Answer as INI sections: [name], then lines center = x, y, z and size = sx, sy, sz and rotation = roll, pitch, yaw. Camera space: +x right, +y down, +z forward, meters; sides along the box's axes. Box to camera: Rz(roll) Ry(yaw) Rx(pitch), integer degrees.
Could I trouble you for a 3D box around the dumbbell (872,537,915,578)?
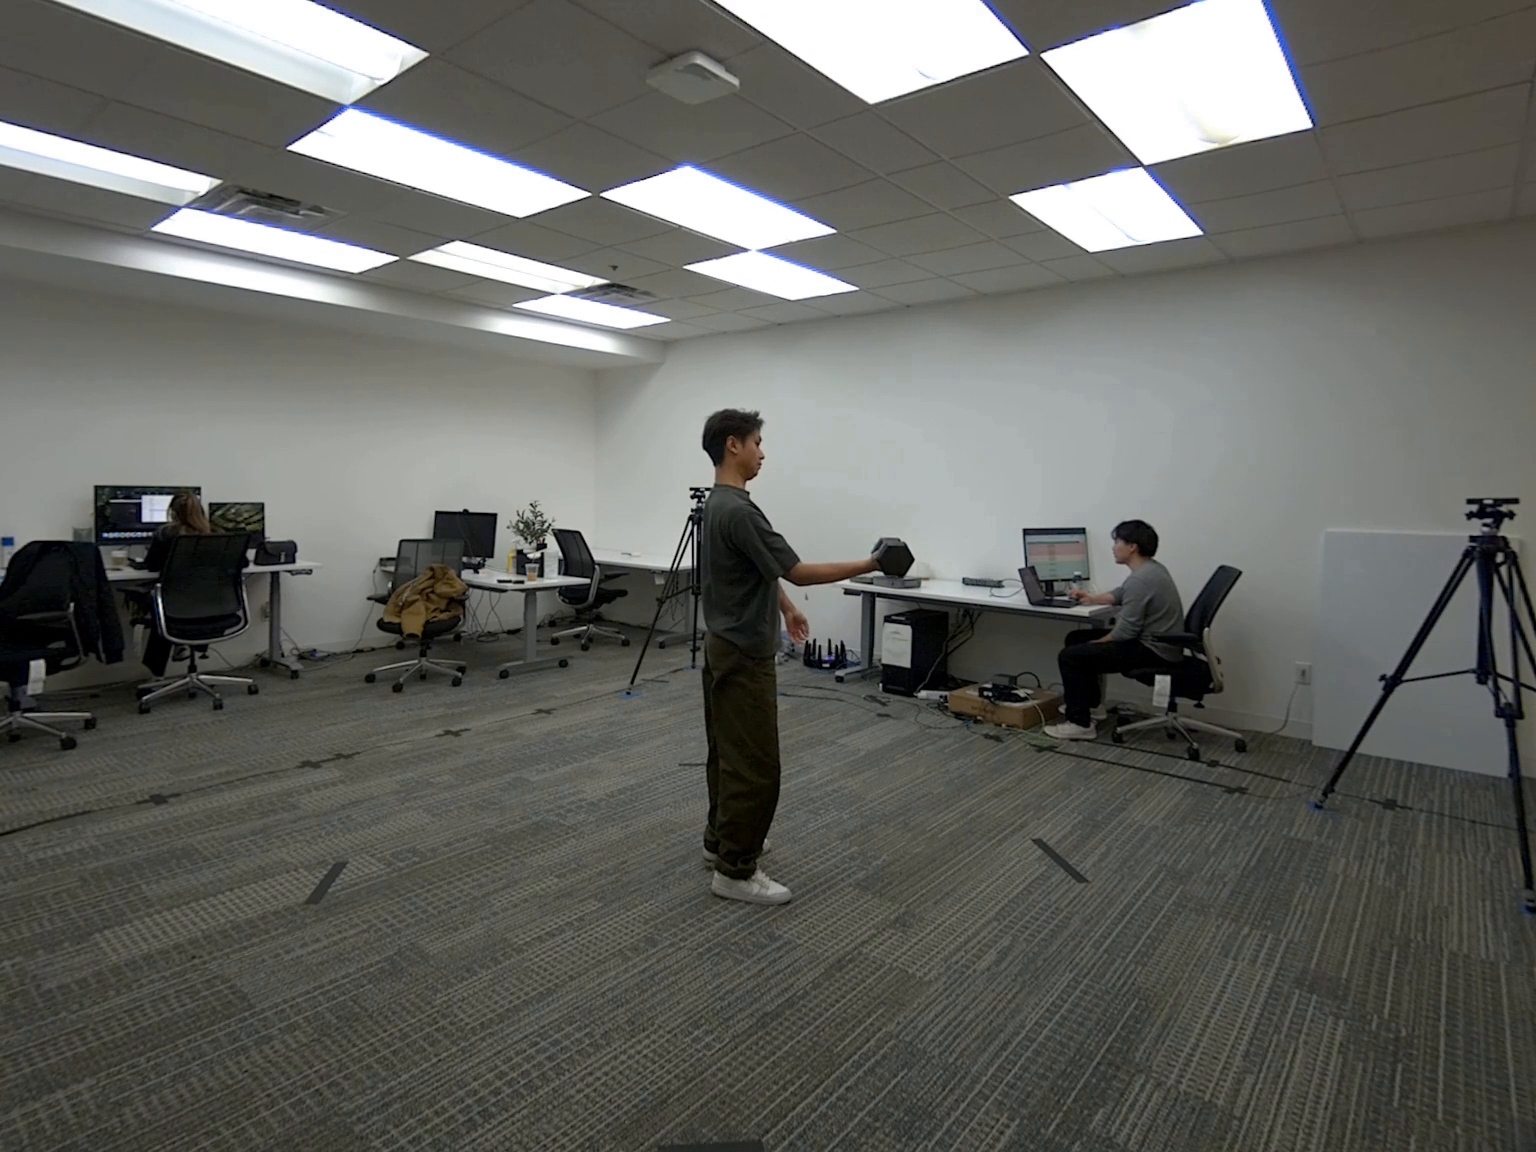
[dumbbell]
center = 0.398, -0.072, 2.791
size = 0.109, 0.123, 0.293
rotation = 30, 7, 2
